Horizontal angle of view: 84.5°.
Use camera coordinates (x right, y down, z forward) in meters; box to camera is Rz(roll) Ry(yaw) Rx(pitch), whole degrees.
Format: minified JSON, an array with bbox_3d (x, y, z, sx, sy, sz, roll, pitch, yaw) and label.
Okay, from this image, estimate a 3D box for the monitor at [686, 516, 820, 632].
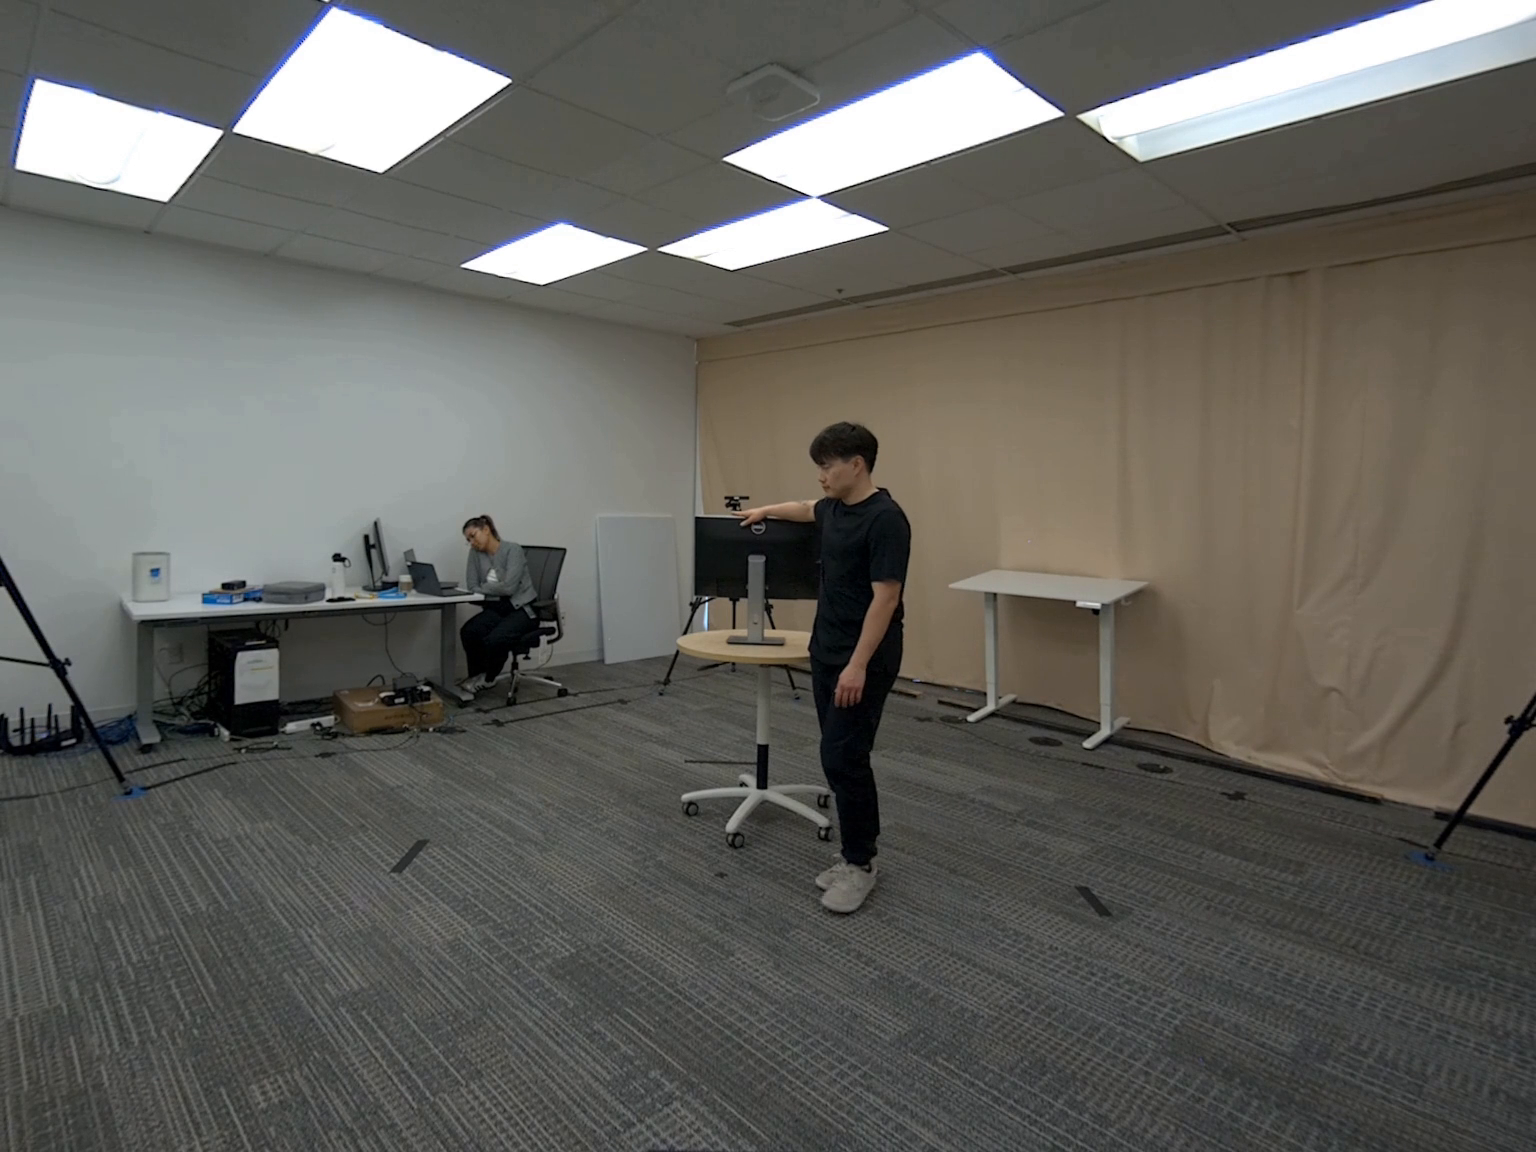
[{"bbox_3d":[-0.054,0.022,3.605,0.541,0.522,0.186,2,1,4],"label":"monitor"}]
